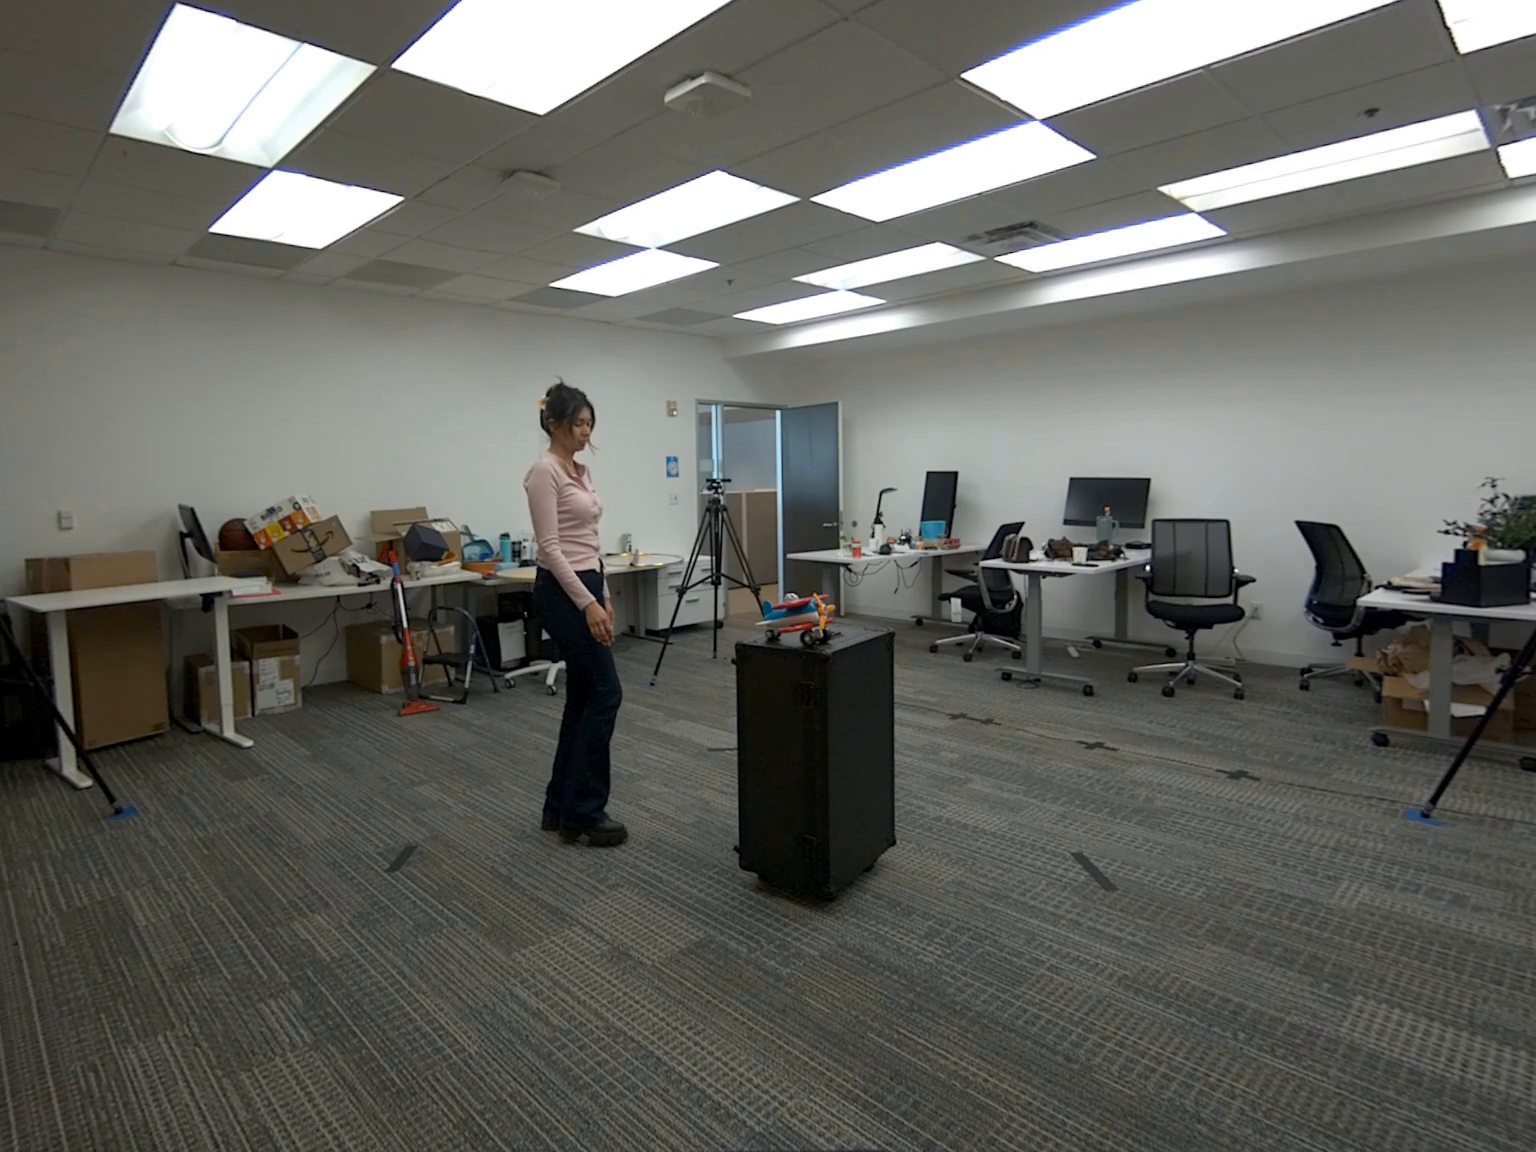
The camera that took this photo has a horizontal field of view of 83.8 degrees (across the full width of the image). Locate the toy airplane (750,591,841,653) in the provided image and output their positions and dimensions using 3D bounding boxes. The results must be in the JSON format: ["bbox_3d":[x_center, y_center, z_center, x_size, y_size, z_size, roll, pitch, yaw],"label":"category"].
[{"bbox_3d":[0.094,0.145,2.836,0.262,0.156,0.249,1,6,12],"label":"toy airplane"}]
